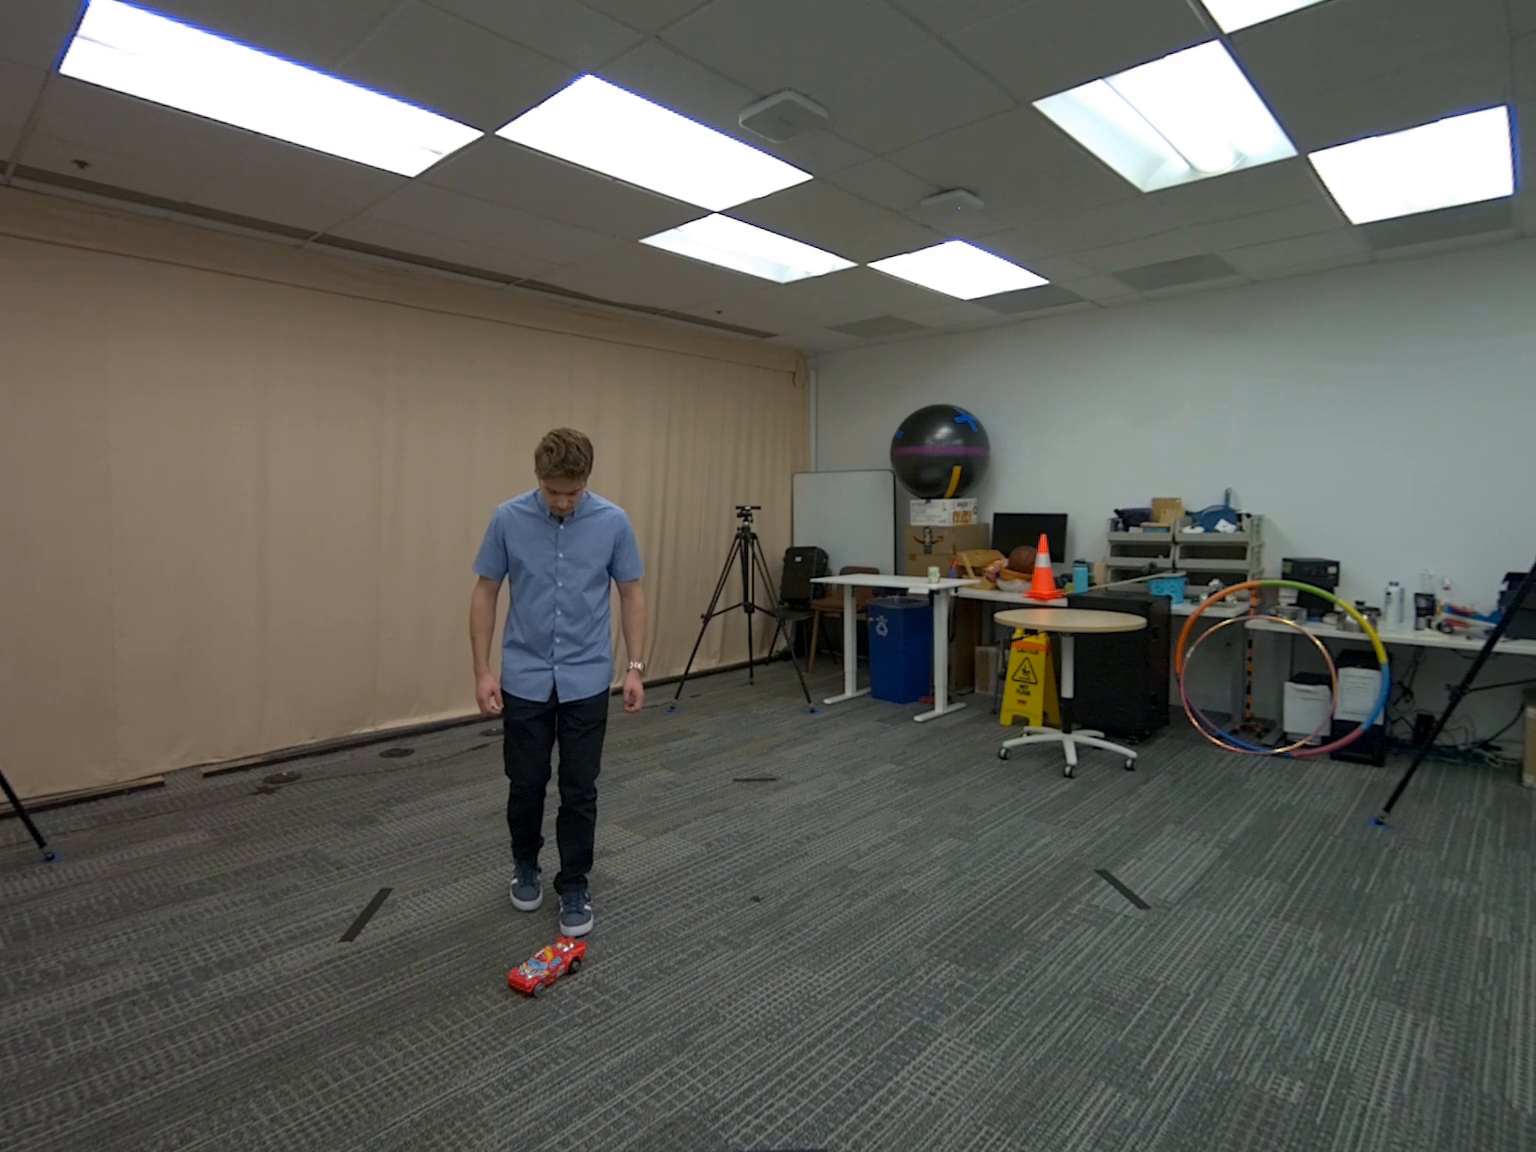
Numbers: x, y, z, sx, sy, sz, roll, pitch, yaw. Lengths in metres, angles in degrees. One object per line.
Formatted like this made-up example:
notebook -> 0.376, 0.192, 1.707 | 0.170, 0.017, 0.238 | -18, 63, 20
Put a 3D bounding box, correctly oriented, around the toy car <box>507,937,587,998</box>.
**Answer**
toy car -> -0.649, 1.163, 2.492 | 0.134, 0.082, 0.249 | 2, 16, 32
